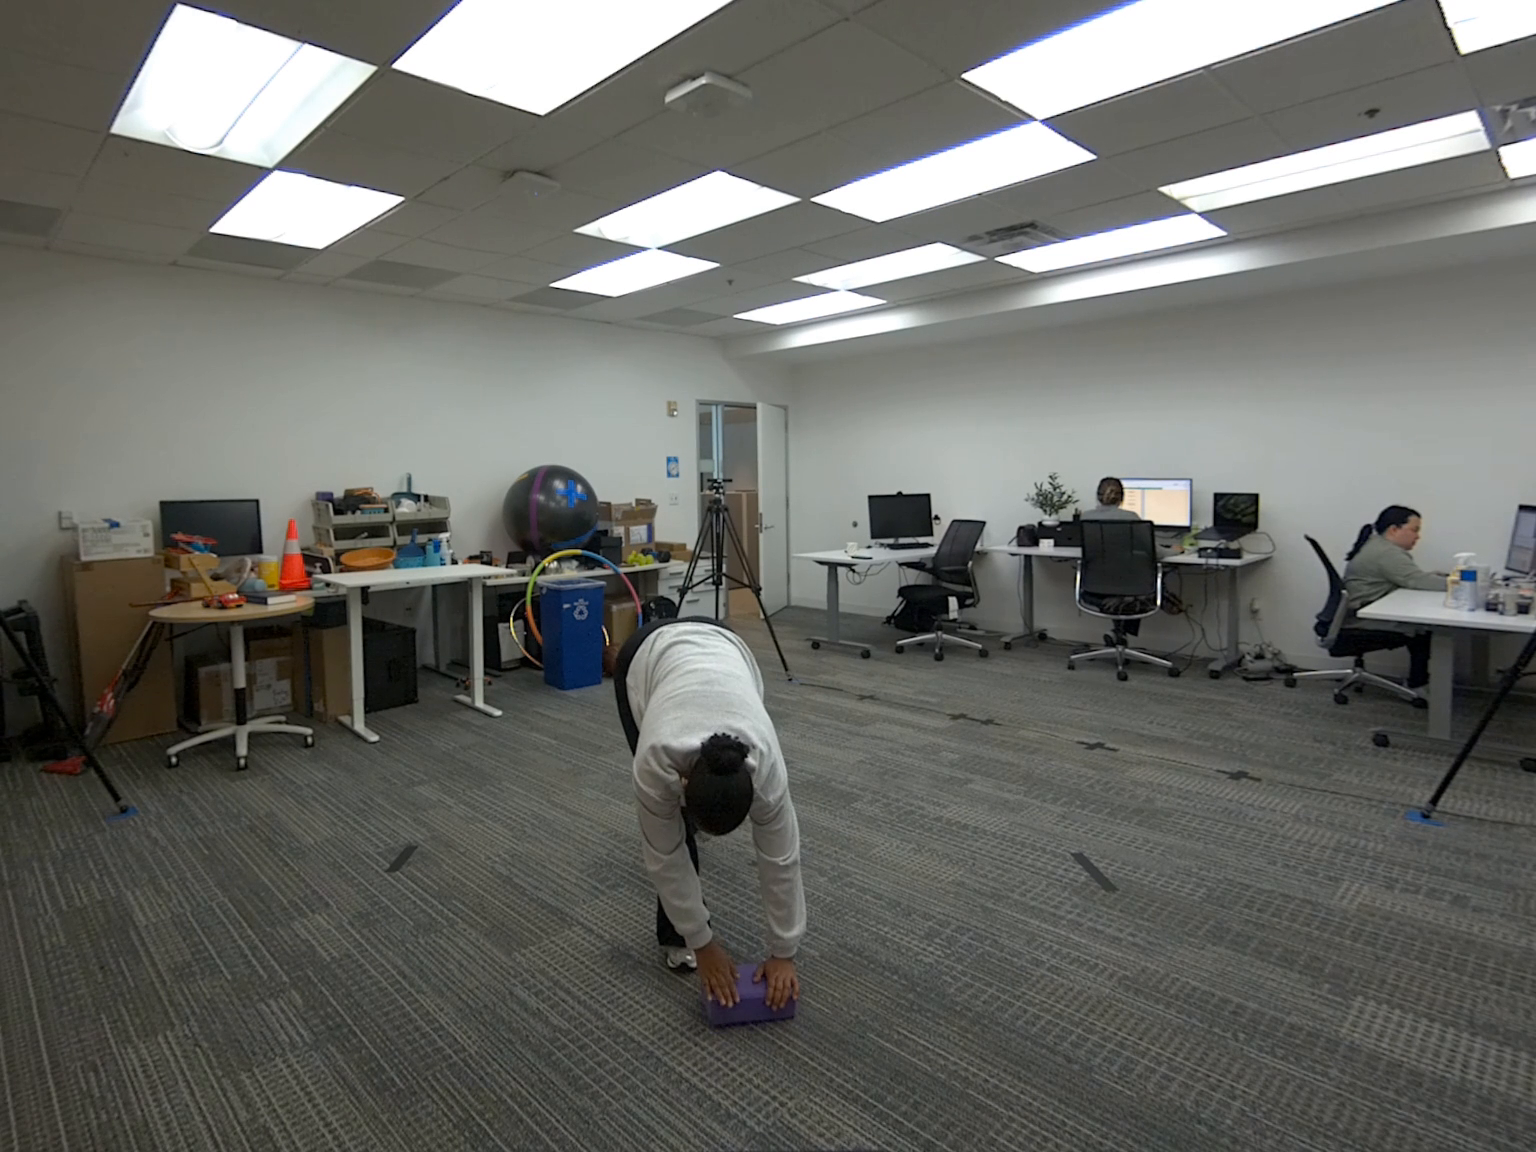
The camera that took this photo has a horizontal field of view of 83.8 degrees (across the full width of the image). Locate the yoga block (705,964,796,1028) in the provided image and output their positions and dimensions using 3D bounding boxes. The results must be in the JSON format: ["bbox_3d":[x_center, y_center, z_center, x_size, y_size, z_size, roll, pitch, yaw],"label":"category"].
[{"bbox_3d":[-0.043,1.101,2.259,0.226,0.076,0.152,0,6,-14],"label":"yoga block"}]
